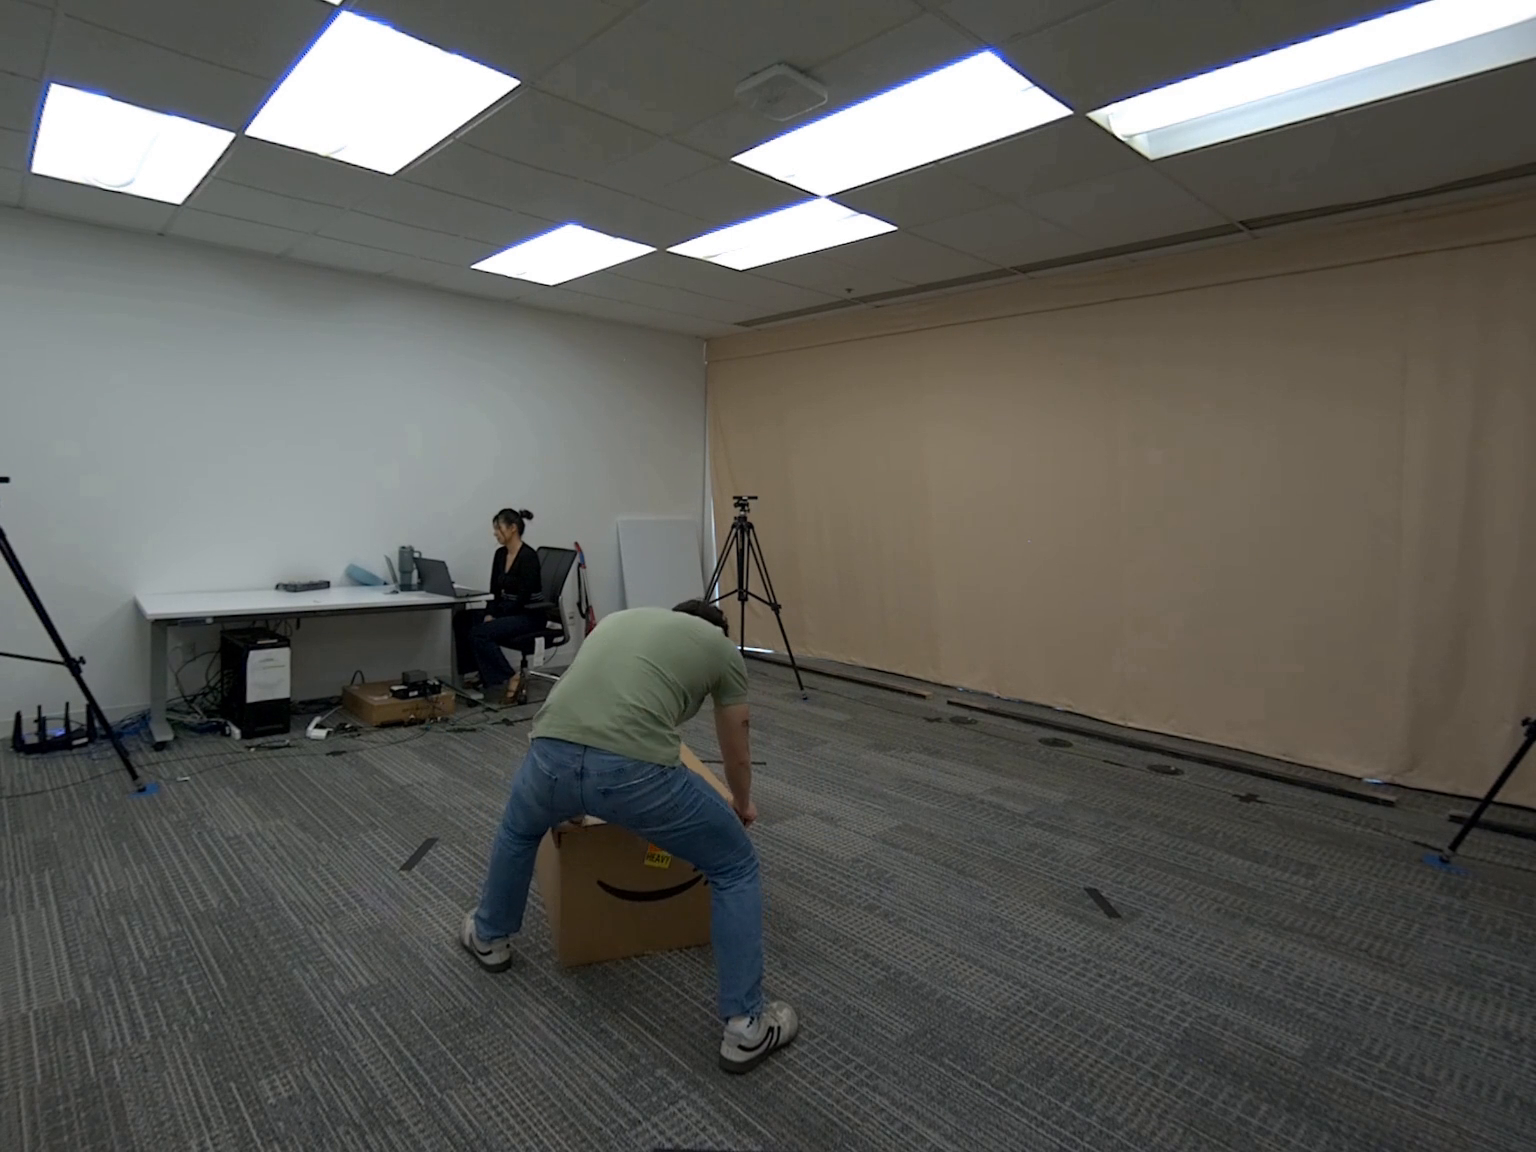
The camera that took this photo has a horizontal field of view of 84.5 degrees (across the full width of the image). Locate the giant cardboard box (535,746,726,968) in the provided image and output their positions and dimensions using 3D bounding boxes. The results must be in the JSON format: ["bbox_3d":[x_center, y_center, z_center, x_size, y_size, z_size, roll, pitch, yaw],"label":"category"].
[{"bbox_3d":[-0.533,0.888,3.034,0.569,0.424,1.045,-1,6,-21],"label":"giant cardboard box"}]
